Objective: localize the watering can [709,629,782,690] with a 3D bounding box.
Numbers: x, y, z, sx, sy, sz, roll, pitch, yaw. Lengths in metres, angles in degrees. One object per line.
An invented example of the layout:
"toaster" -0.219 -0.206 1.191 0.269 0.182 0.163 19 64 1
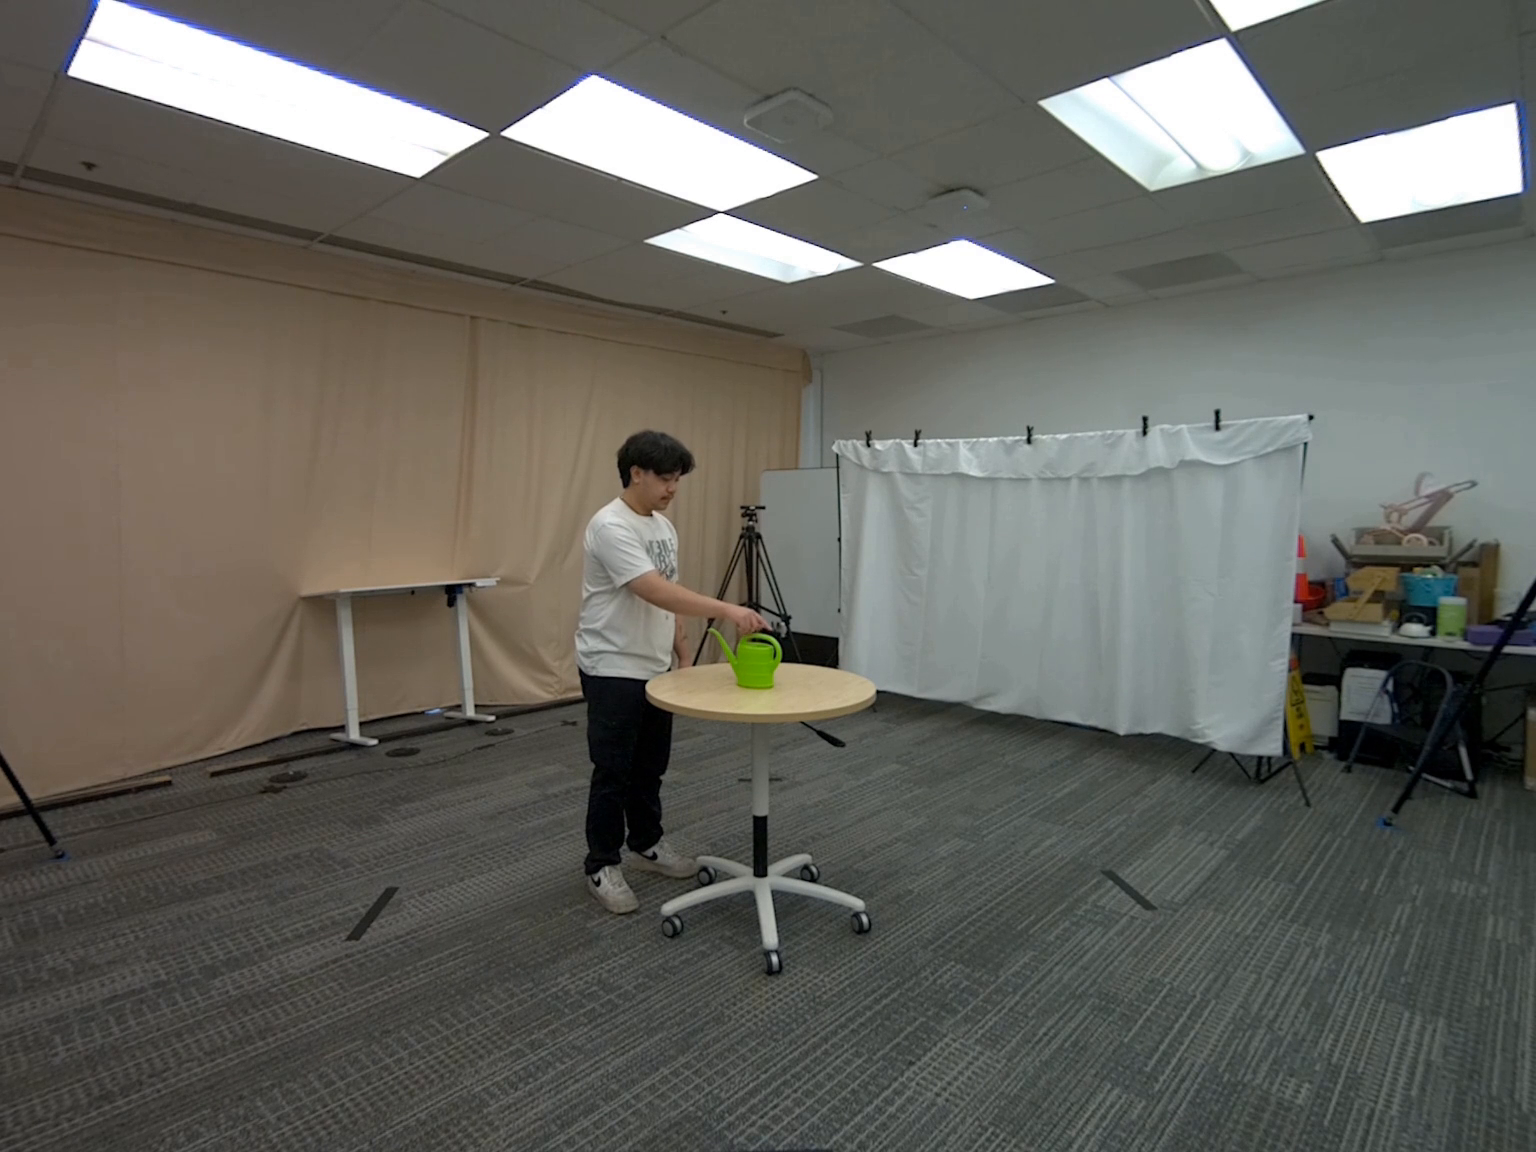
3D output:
"watering can" -0.069 0.275 2.823 0.287 0.176 0.095 5 5 38
